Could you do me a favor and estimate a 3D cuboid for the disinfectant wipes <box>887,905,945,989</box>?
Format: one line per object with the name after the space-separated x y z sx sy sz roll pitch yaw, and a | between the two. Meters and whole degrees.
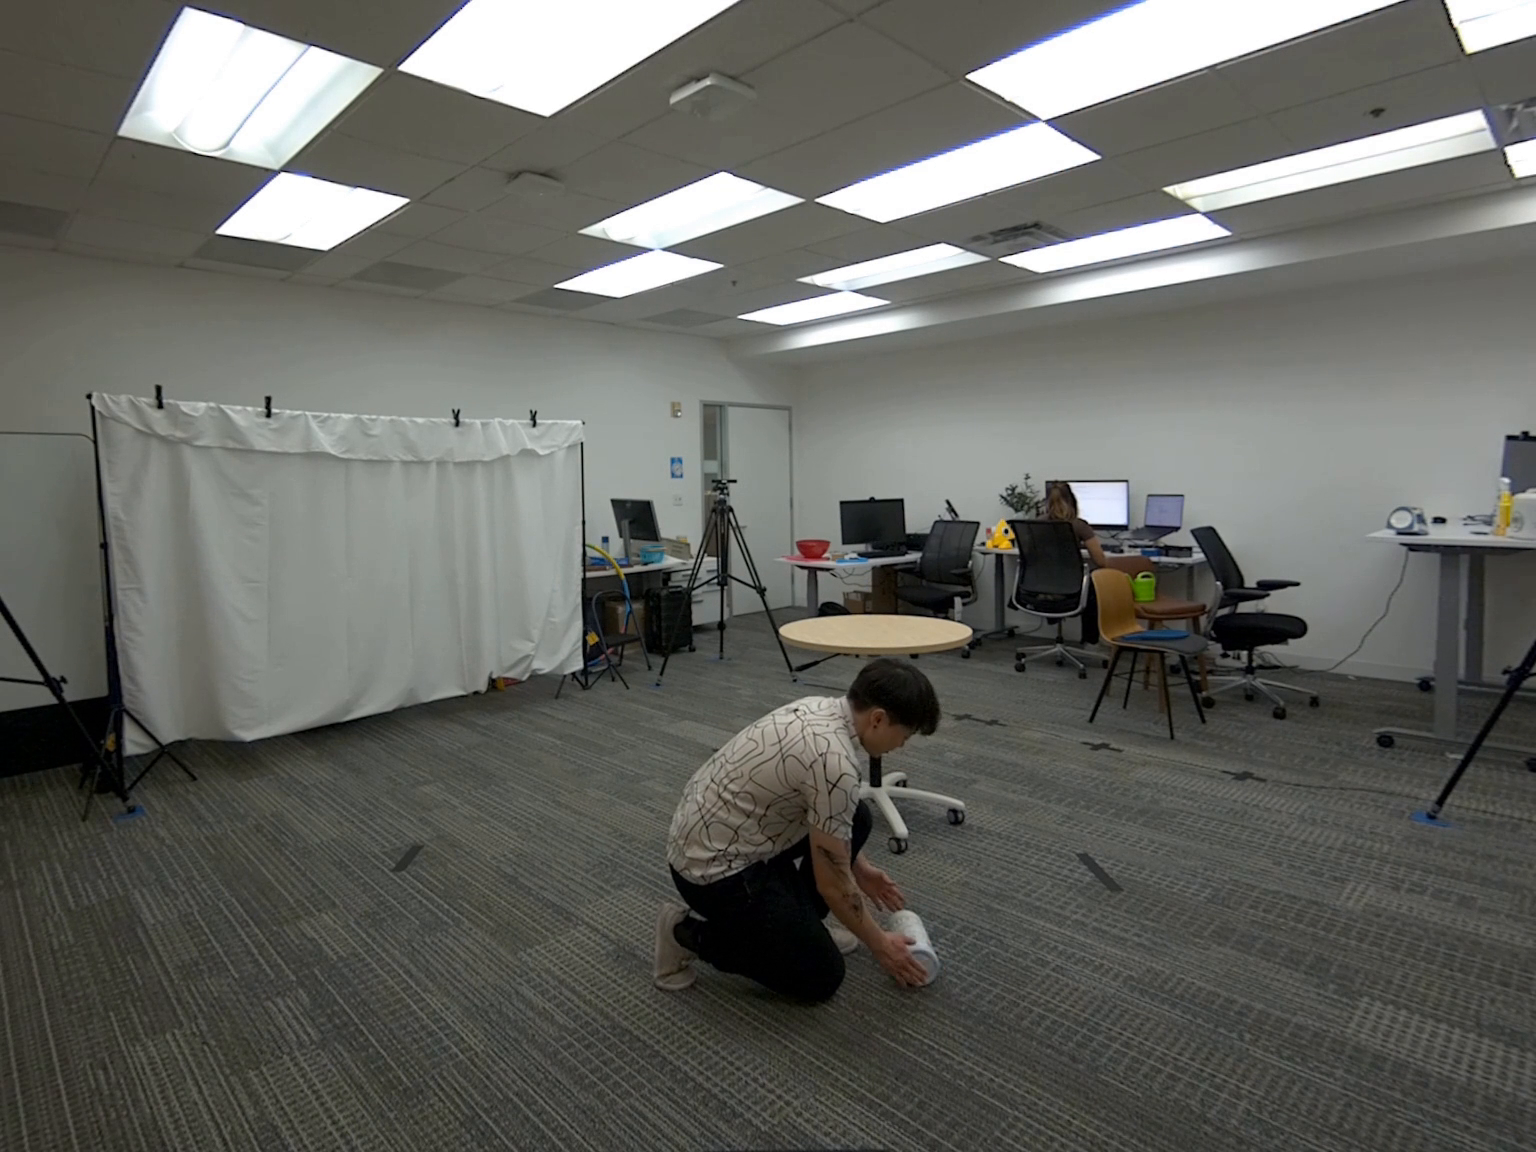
0.417 1.052 2.443 0.118 0.117 0.218 -1 7 0 | disinfectant wipes
